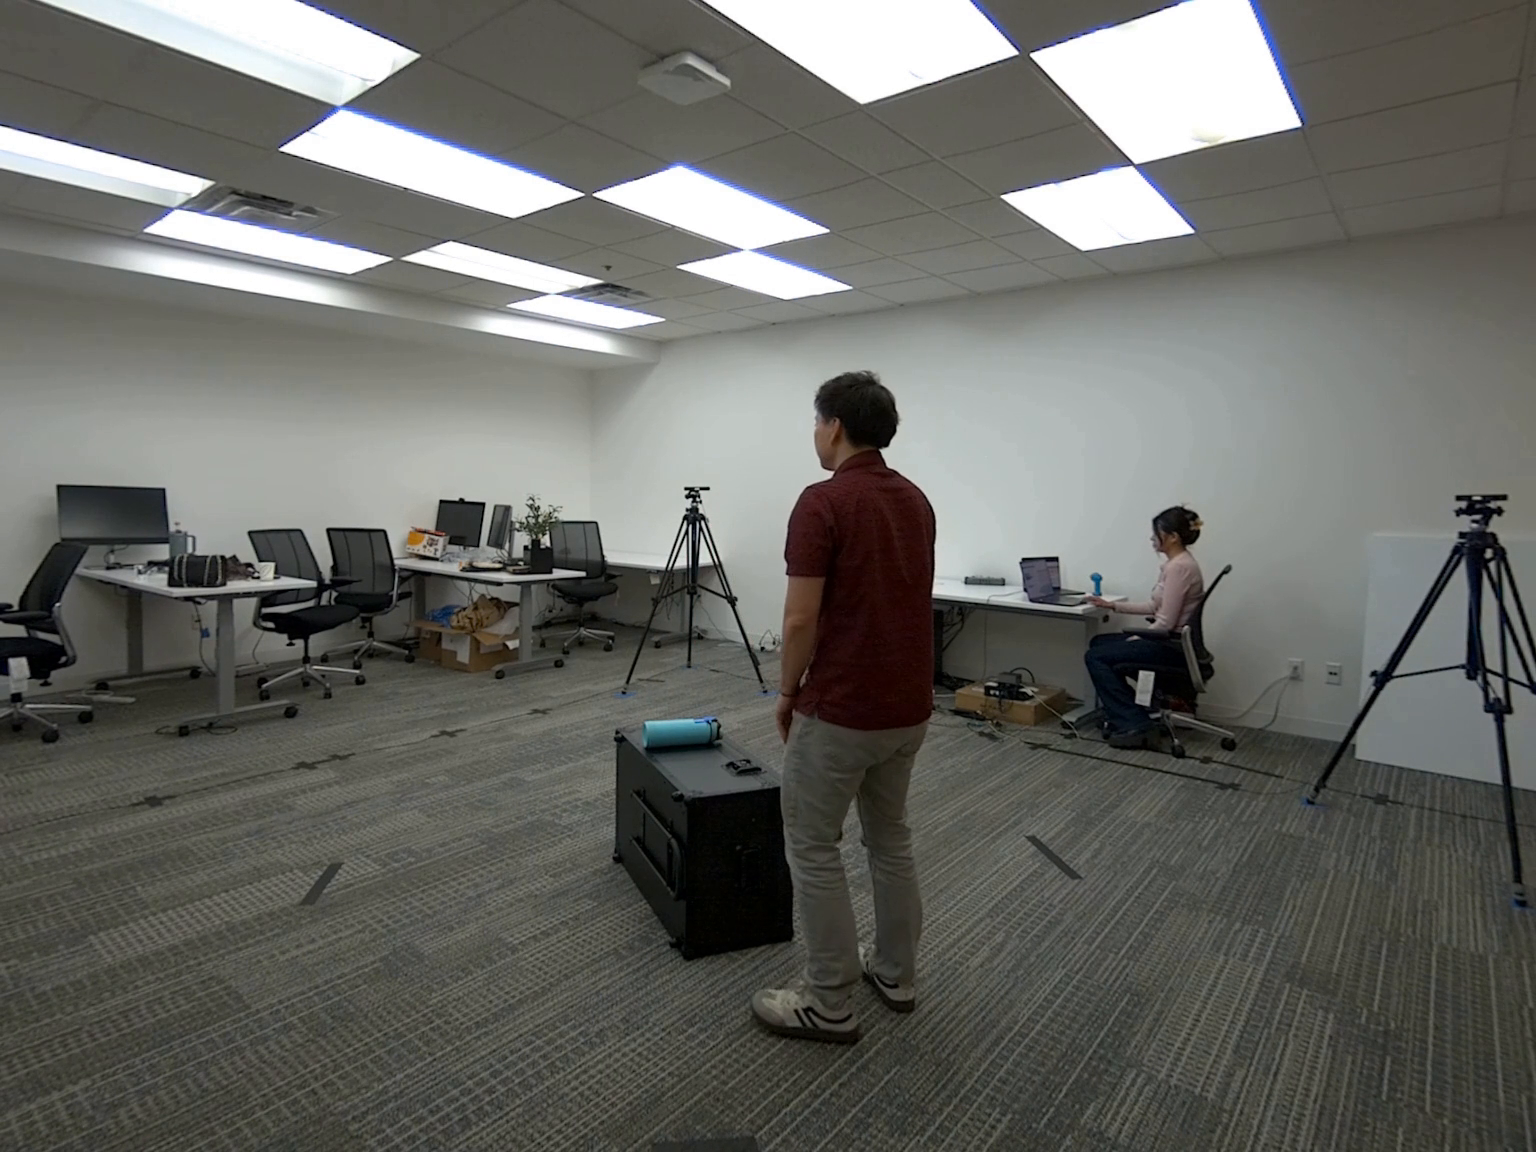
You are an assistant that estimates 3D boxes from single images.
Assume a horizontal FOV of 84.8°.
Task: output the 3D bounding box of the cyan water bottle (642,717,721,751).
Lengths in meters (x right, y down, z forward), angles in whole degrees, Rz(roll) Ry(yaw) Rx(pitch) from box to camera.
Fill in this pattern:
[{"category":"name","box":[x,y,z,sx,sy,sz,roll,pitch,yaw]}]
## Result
[{"category":"cyan water bottle","box":[-0.307,0.545,2.997,0.279,0.092,0.094,-1,4,-16]}]
